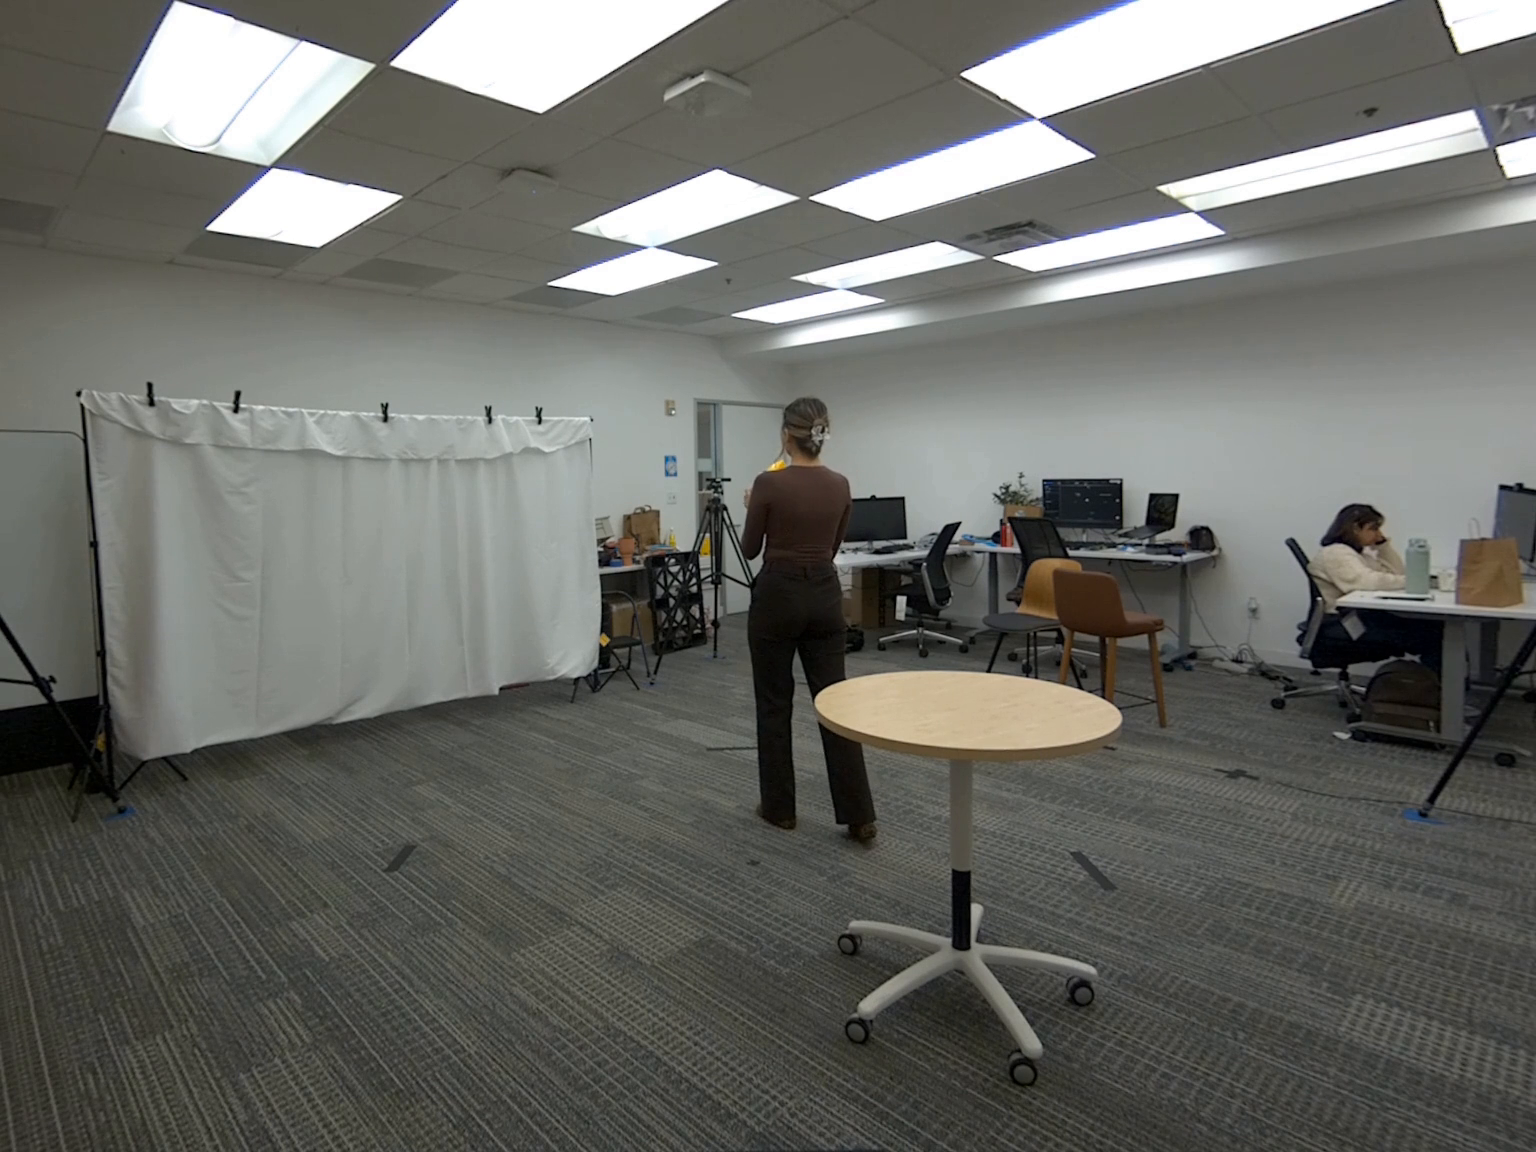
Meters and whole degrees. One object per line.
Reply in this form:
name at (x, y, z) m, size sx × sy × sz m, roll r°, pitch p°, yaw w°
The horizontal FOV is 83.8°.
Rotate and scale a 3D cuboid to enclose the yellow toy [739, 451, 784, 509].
yellow toy at (0.022, -0.408, 3.745) m, size 0.200 × 0.227 × 0.200 m, roll -11°, pitch 24°, yaw -42°
